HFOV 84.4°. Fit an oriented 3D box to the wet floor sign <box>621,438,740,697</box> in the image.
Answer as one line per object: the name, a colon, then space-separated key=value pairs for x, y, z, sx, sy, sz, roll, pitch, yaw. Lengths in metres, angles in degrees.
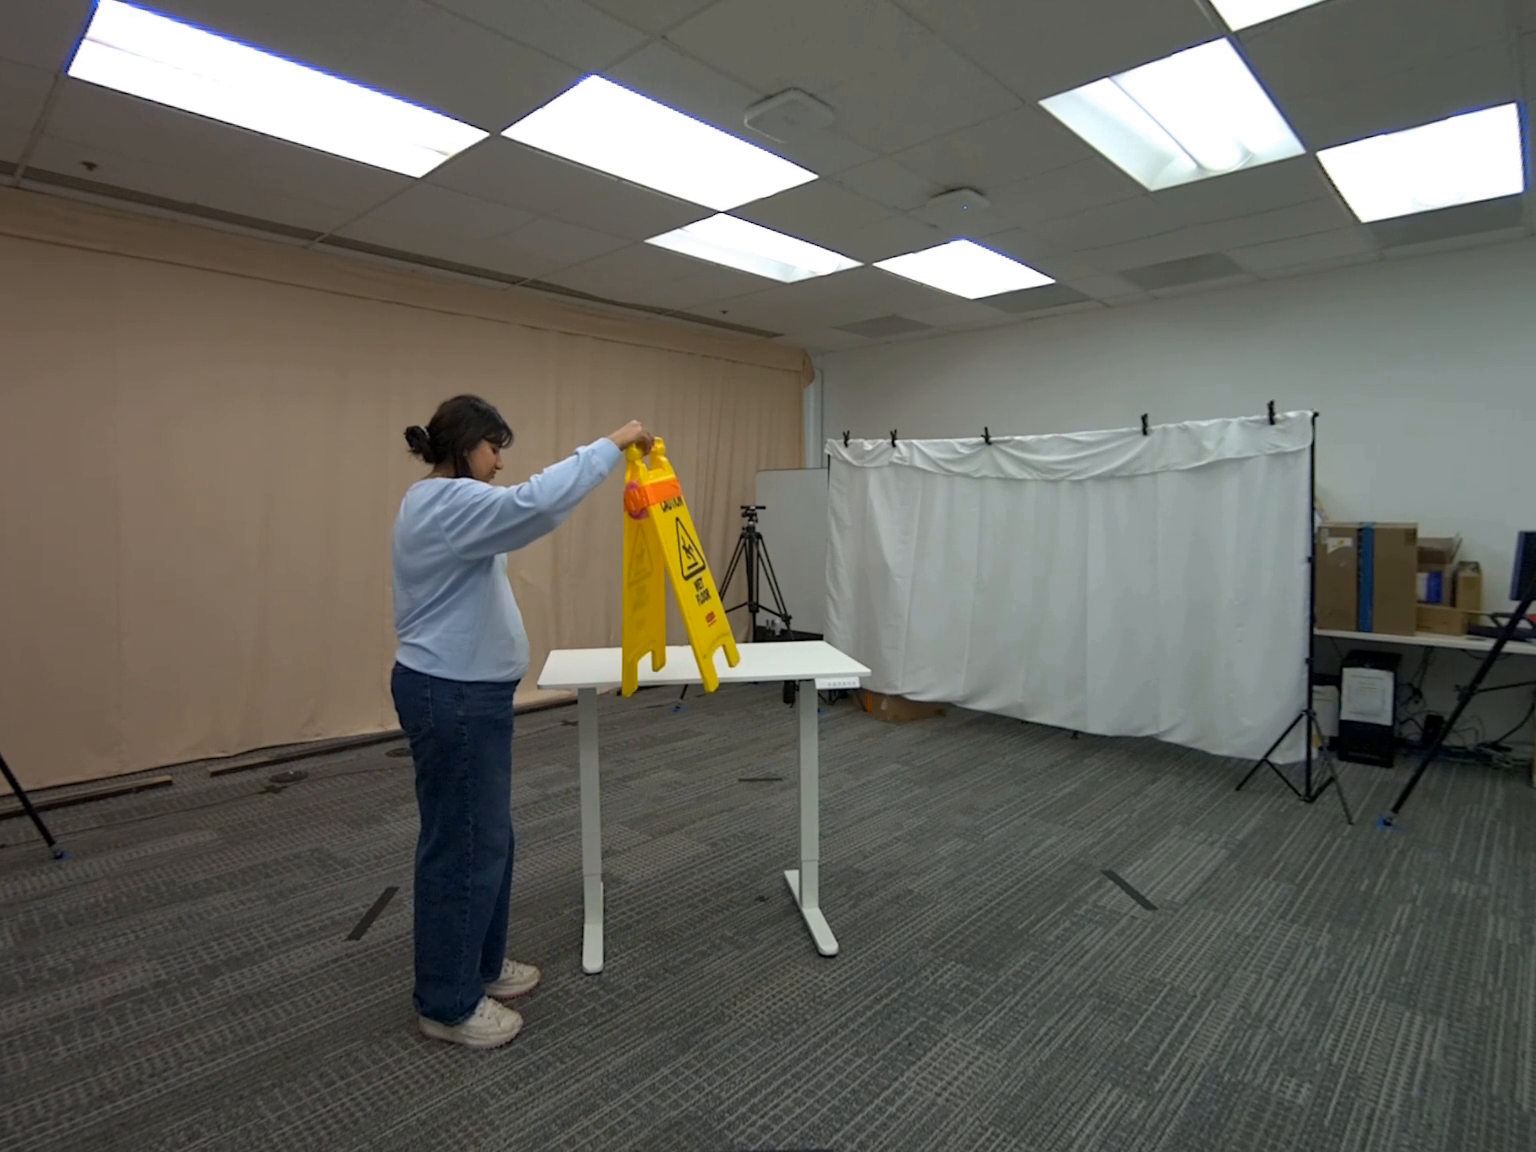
wet floor sign: x=-0.275 y=-0.036 z=2.216 sx=0.294 sy=0.641 sz=0.280 roll=-6 pitch=10 yaw=16
